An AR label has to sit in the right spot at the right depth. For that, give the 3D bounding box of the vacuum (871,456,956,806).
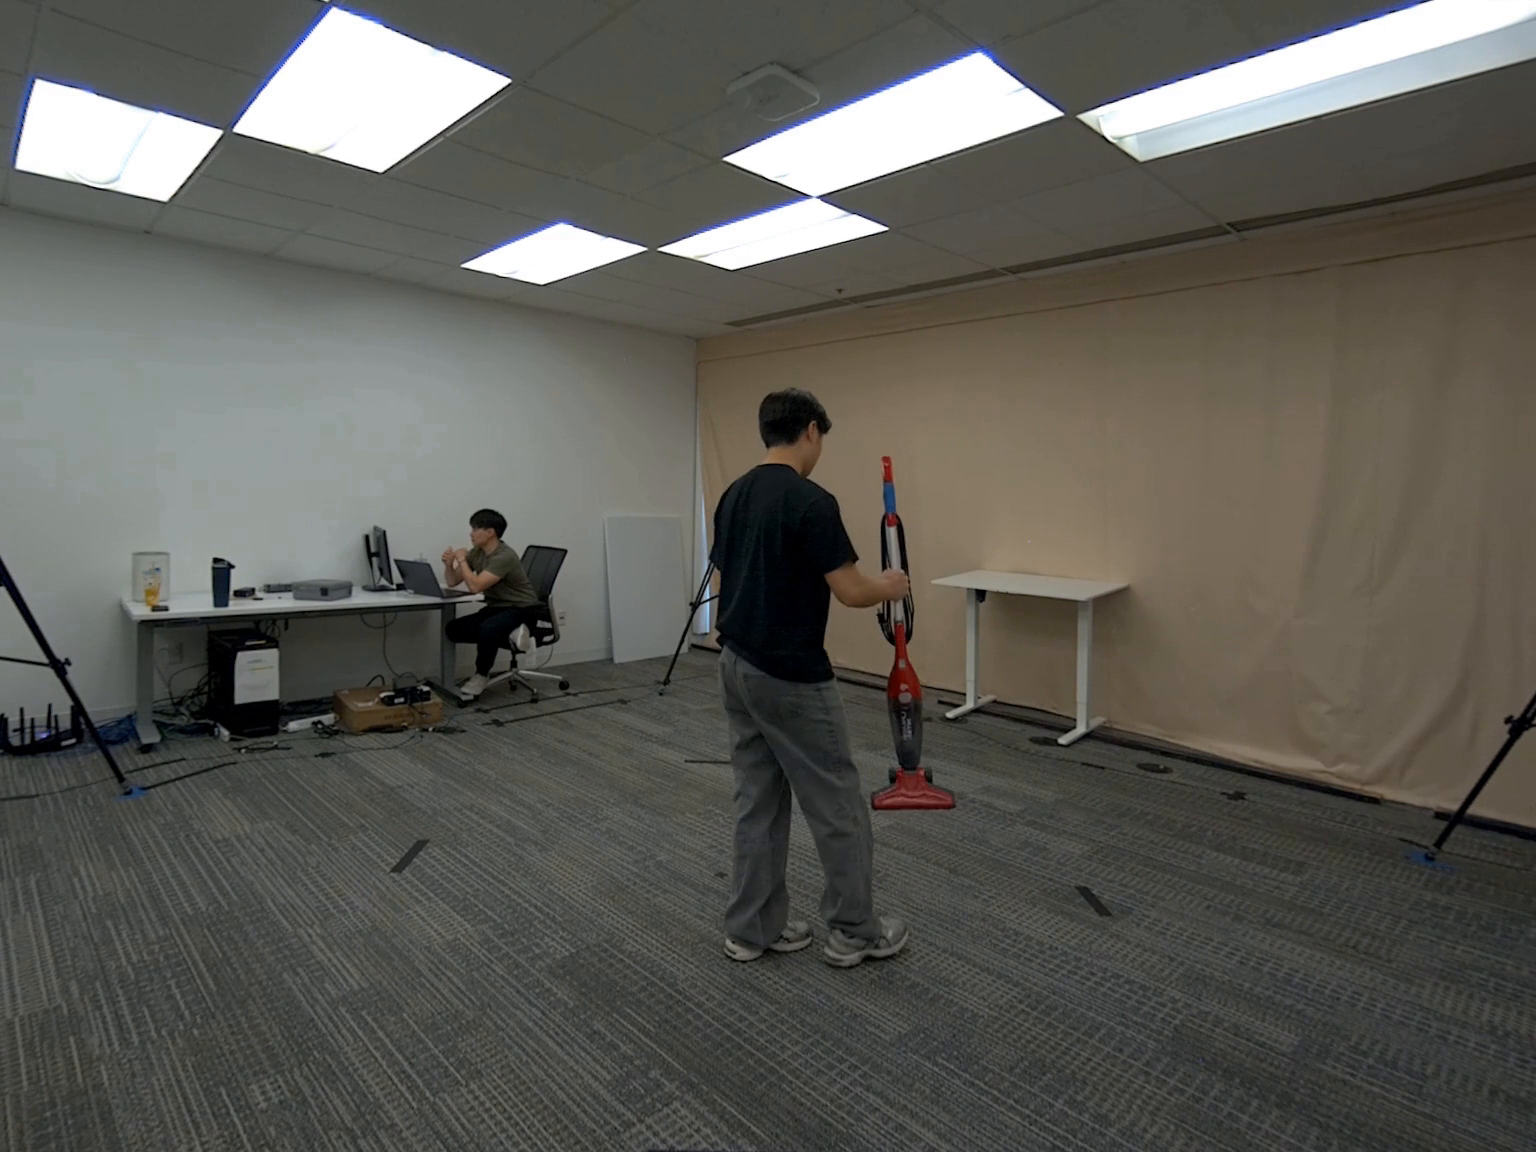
[{"bbox_3d":[0.414,0.145,2.676,0.256,1.055,0.141,-5,-8,17],"label":"vacuum"}]
